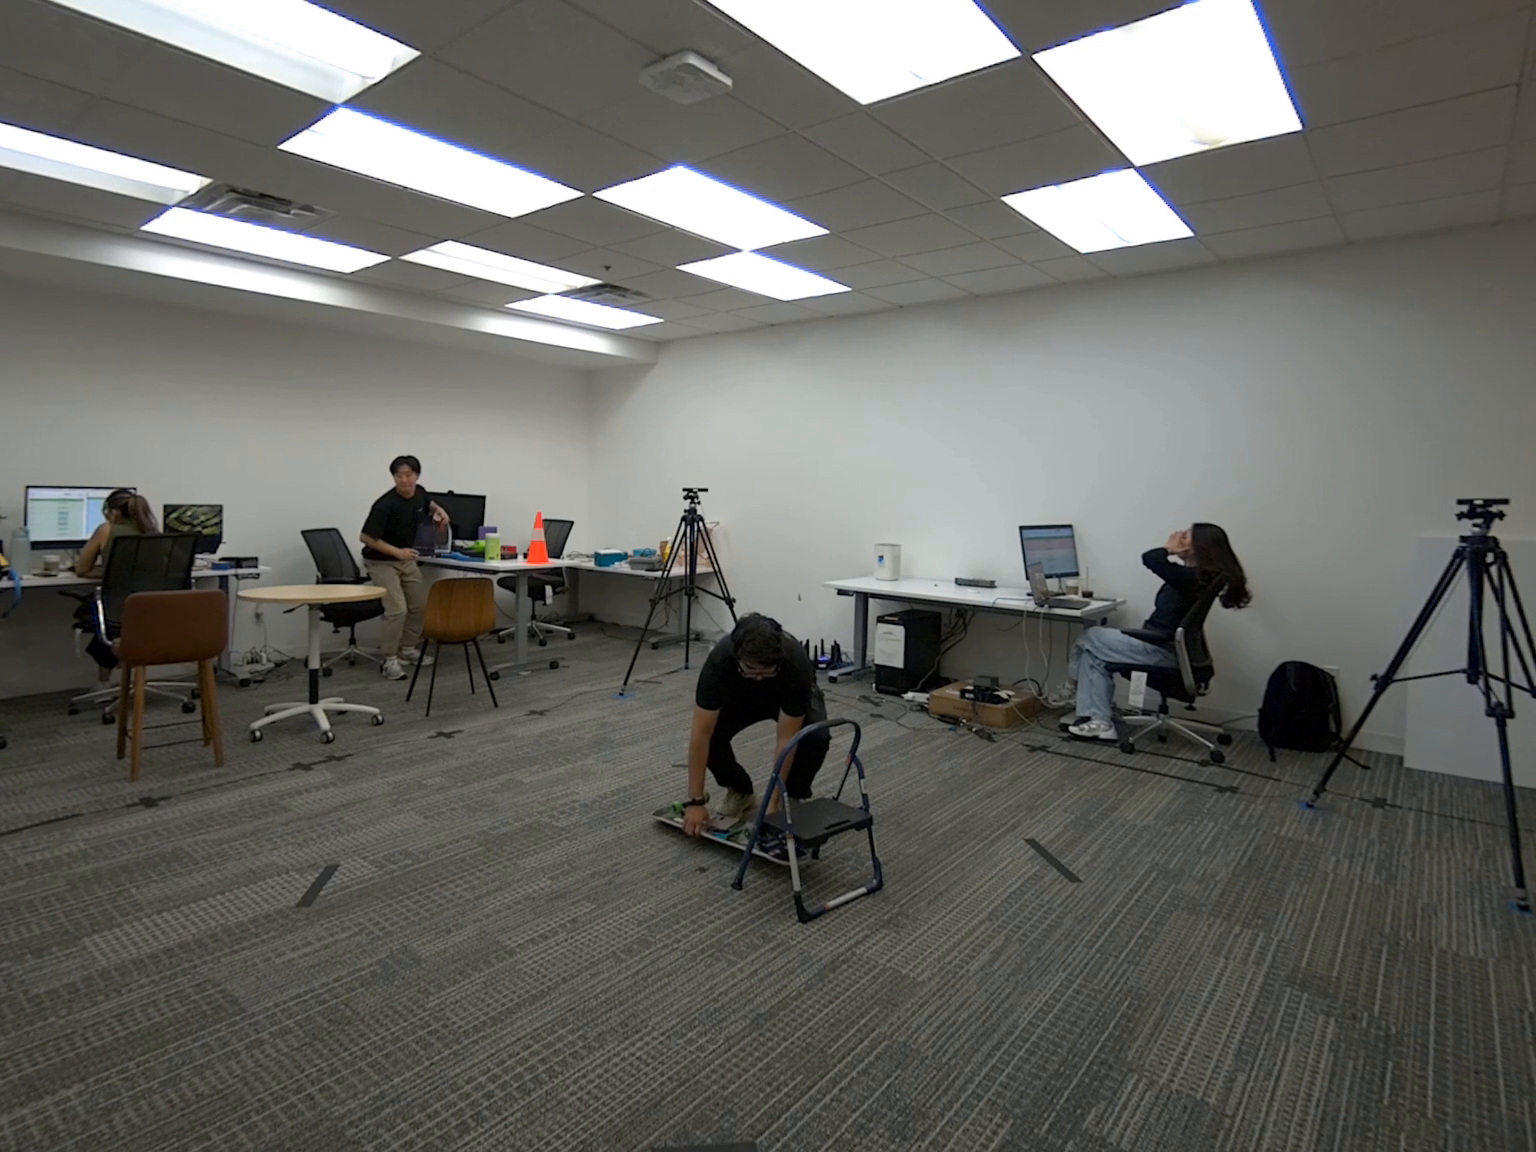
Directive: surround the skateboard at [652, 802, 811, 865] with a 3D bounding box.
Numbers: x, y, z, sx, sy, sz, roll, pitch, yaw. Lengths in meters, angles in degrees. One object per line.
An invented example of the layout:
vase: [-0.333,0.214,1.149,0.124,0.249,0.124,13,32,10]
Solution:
skateboard: [-0.171,0.955,3.313,0.812,0.110,0.188,4,7,42]
